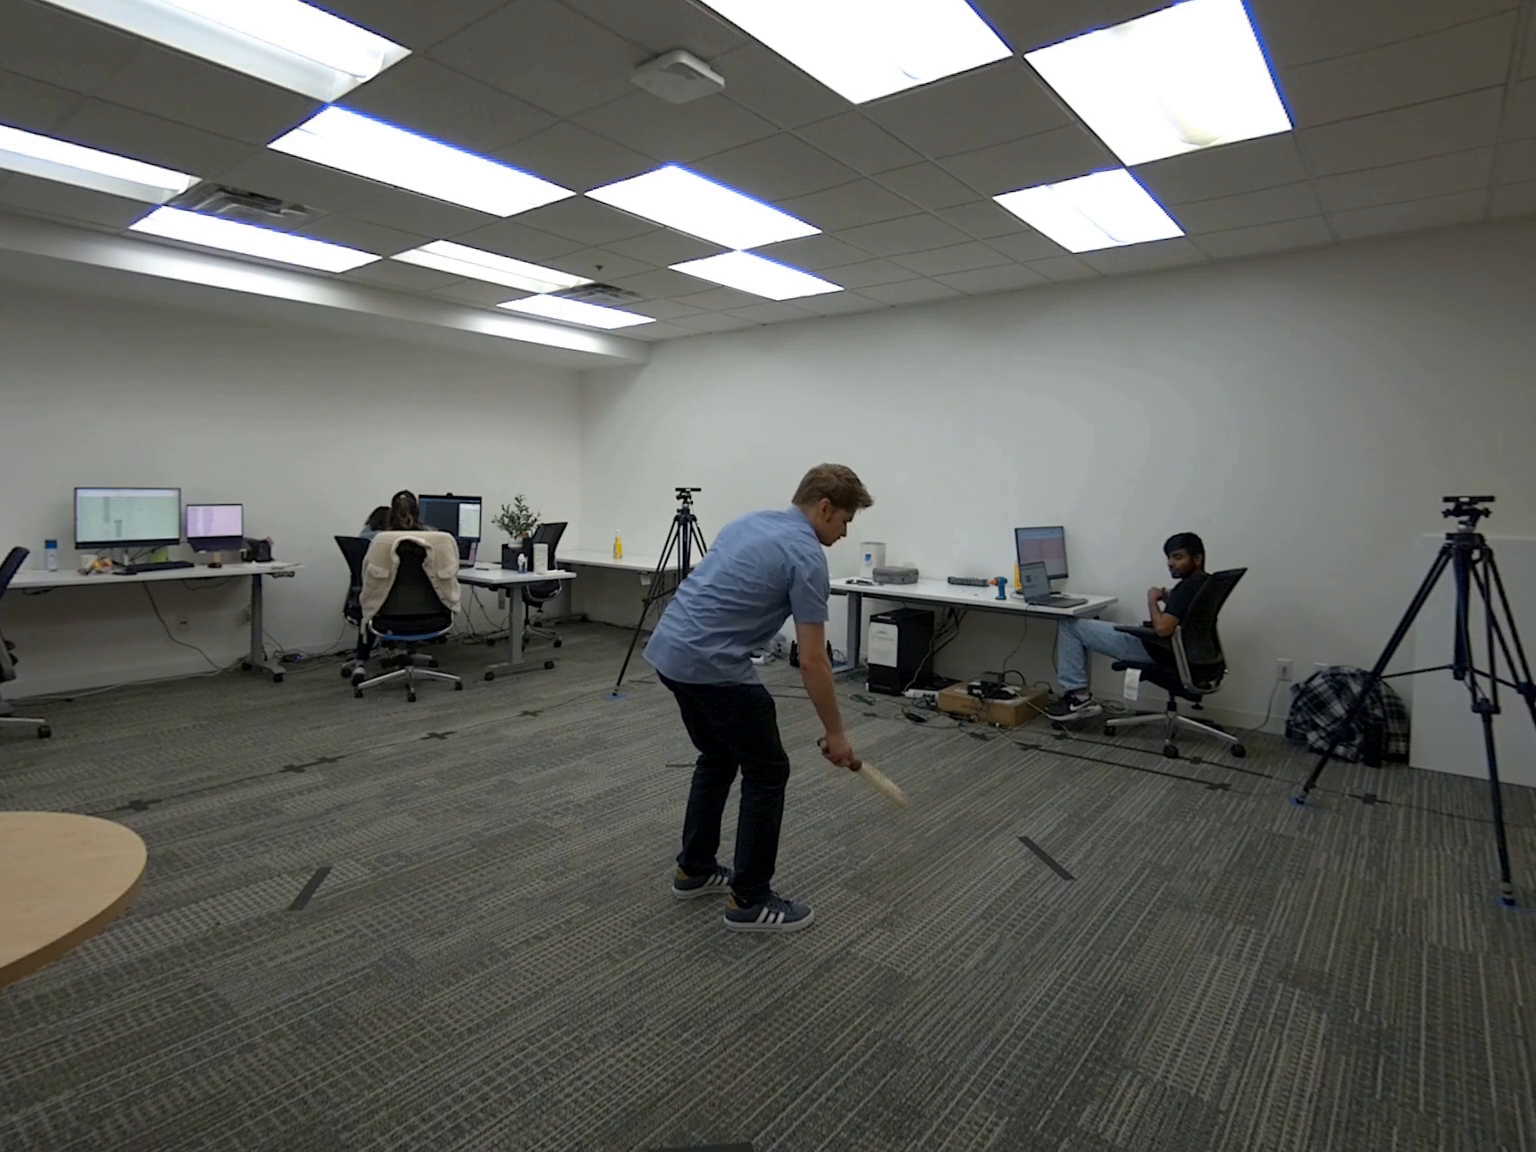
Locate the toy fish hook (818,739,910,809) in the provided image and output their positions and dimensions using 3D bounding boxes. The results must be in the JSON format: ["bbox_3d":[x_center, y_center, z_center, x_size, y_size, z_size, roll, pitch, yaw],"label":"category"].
[{"bbox_3d":[0.302,0.636,2.889,0.489,0.048,0.233,40,-2,-29],"label":"toy fish hook"}]
